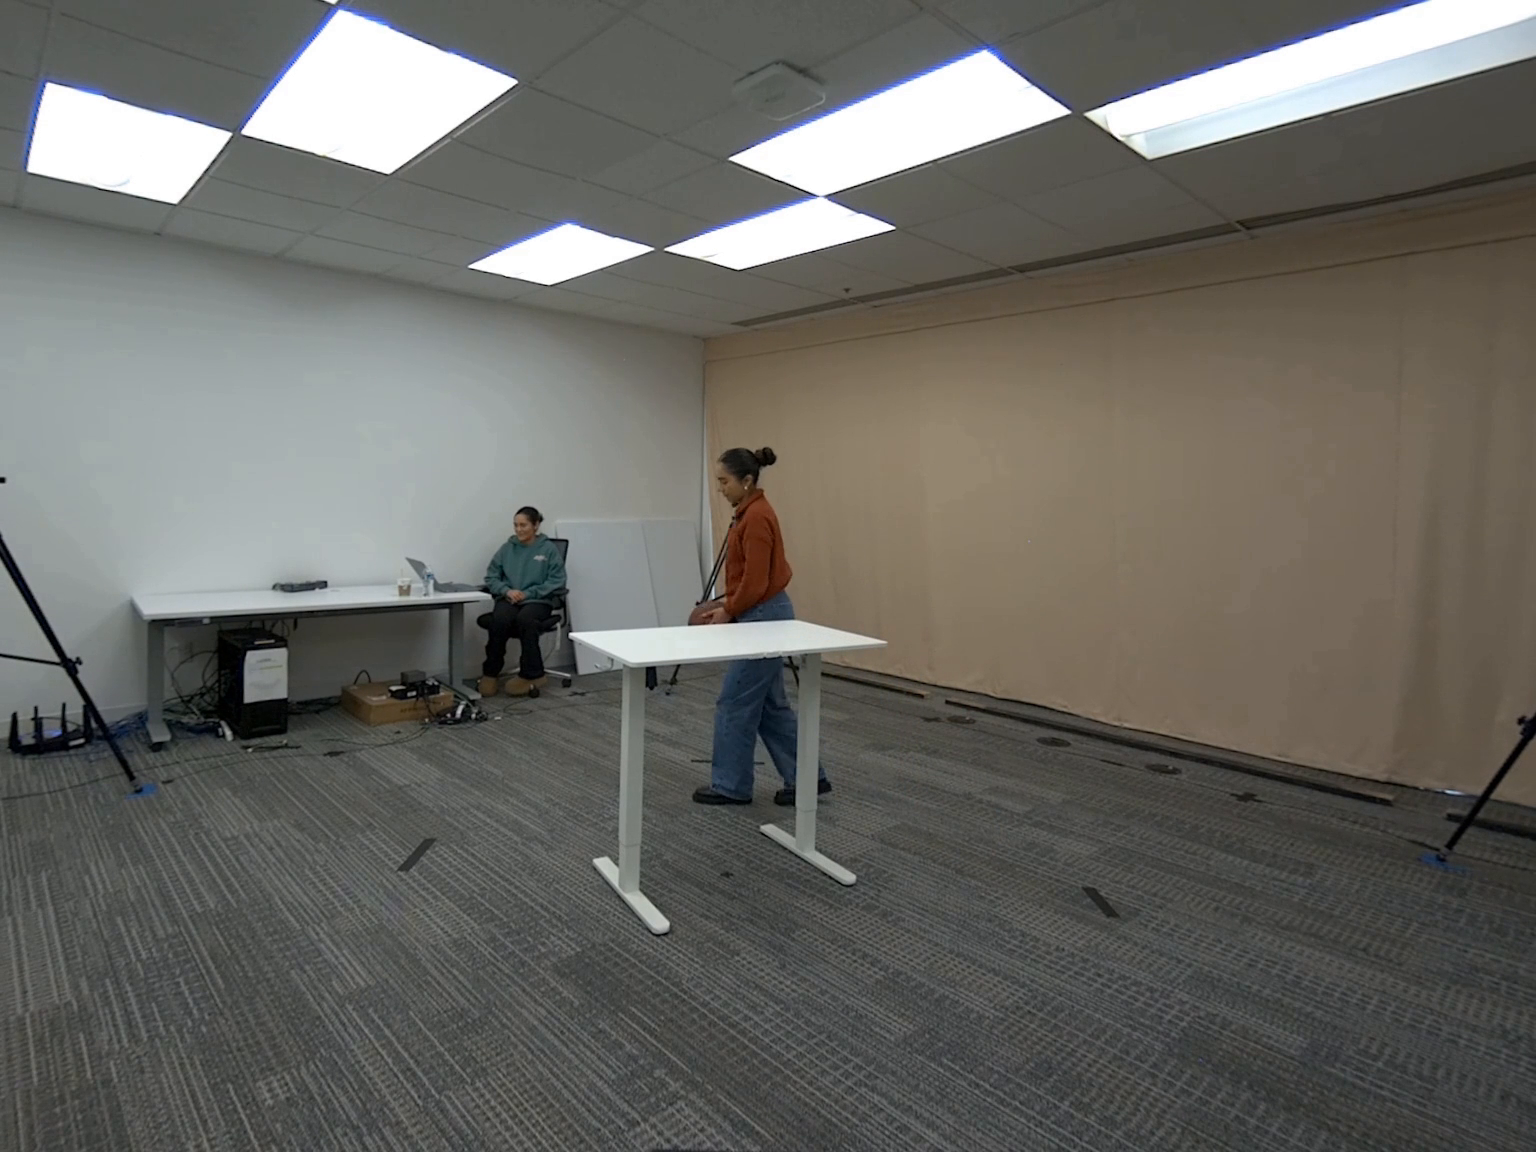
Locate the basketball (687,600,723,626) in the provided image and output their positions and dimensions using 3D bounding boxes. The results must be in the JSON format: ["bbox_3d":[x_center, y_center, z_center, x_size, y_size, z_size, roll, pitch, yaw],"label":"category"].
[{"bbox_3d":[-0.242,0.230,3.885,0.236,0.235,0.237,1,4,-1],"label":"basketball"}]
